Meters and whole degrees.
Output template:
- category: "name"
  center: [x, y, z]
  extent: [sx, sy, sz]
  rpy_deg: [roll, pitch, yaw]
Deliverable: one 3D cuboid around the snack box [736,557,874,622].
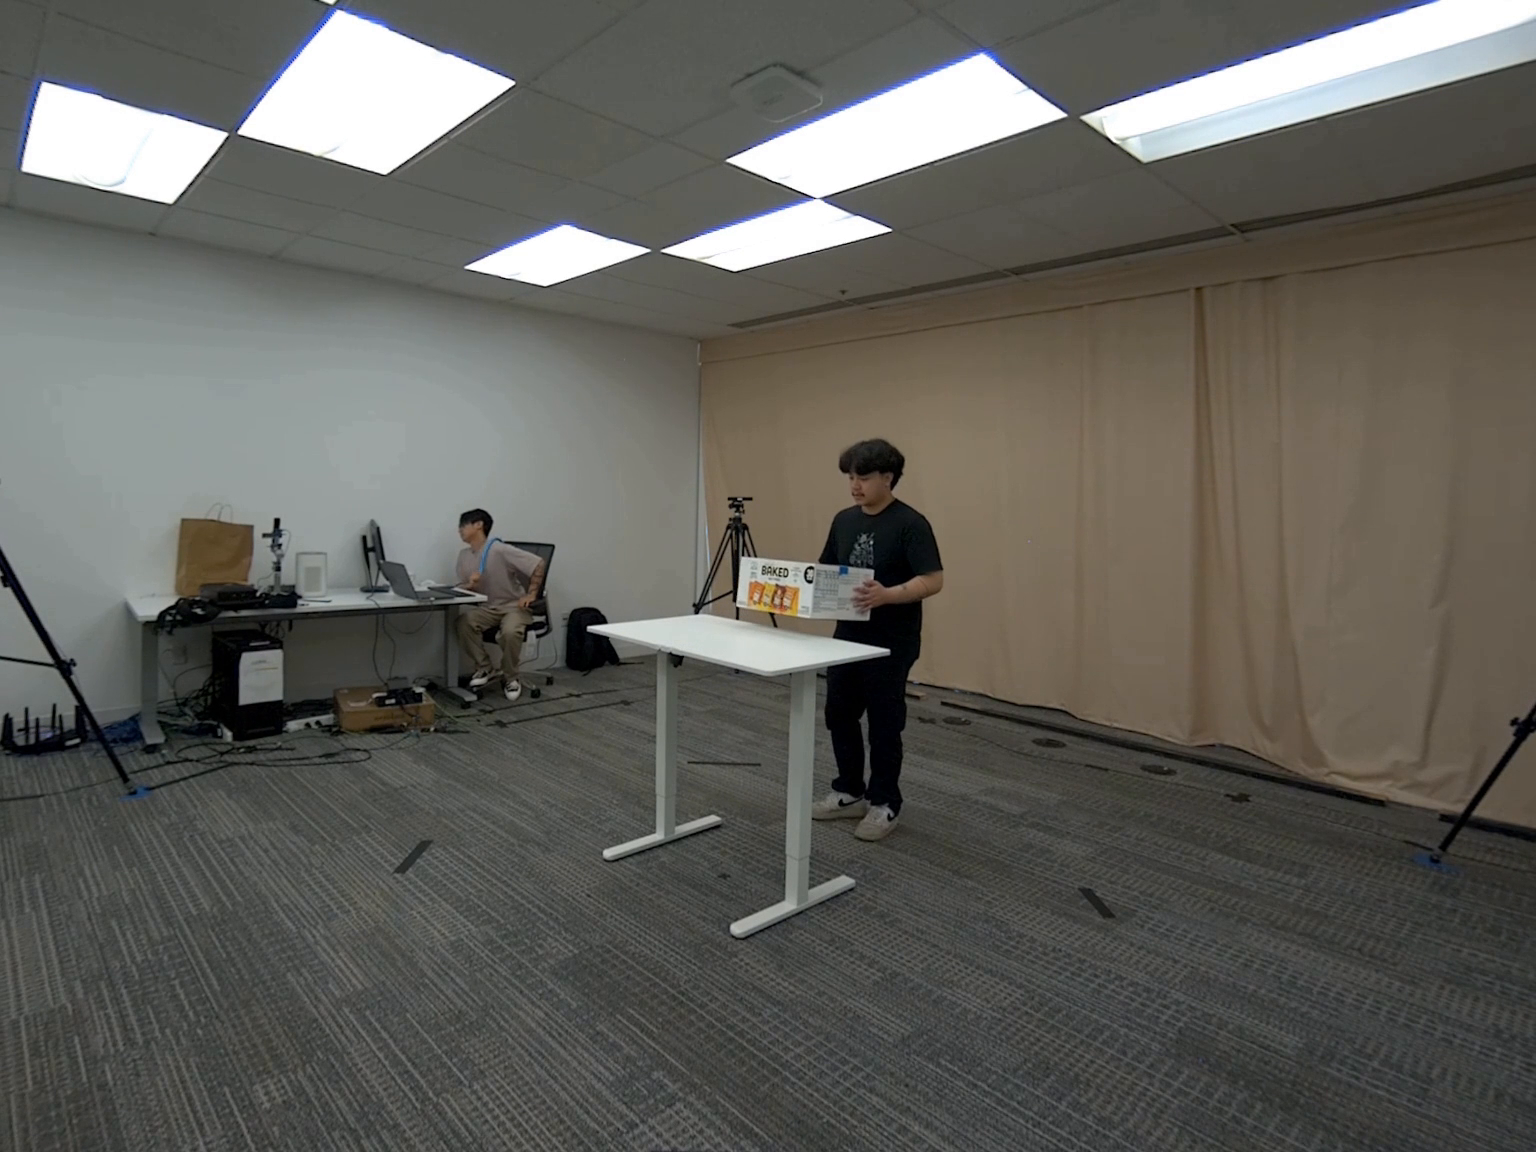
- category: "snack box"
  center: [0.138, 0.050, 3.329]
  extent: [0.332, 0.205, 0.415]
  rpy_deg: [4, 1, -43]
